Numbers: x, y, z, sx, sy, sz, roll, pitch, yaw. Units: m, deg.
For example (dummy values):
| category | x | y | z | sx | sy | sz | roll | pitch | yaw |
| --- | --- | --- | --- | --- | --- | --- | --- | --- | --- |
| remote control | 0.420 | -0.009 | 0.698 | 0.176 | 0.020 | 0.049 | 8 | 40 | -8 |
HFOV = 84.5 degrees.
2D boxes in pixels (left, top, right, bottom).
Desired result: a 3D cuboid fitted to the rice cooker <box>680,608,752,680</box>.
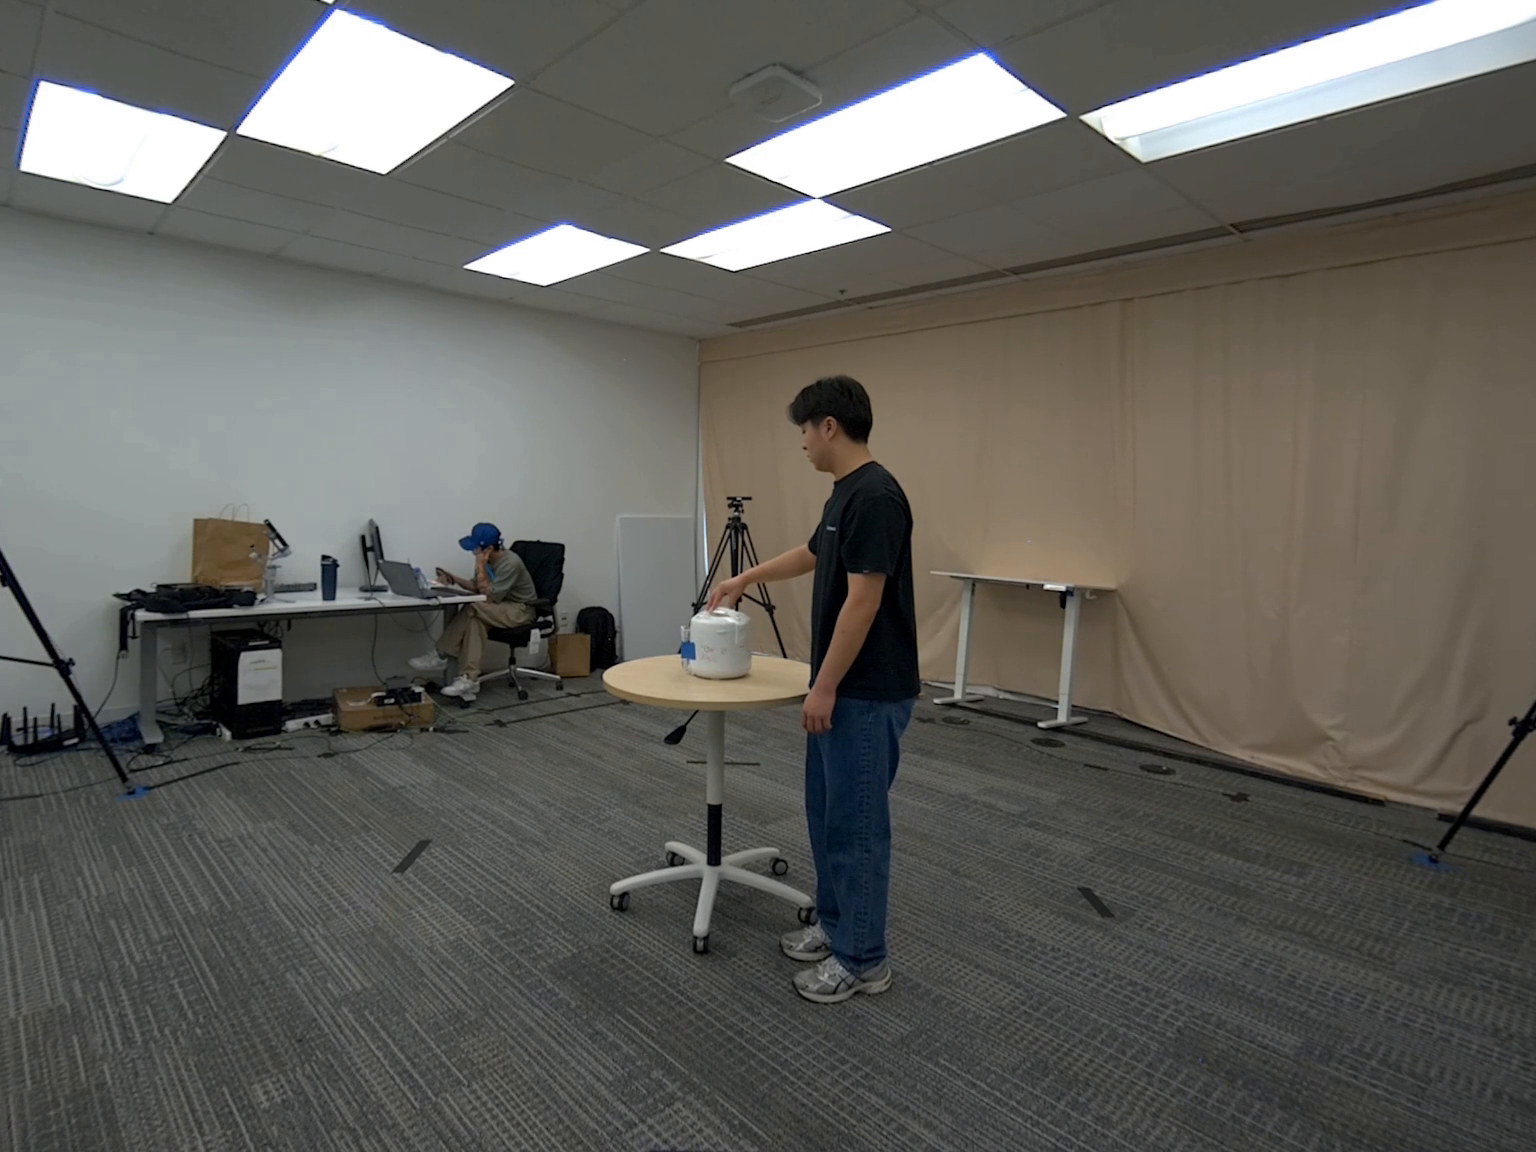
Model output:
| category | x | y | z | sx | sy | sz | roll | pitch | yaw |
| --- | --- | --- | --- | --- | --- | --- | --- | --- | --- |
| rice cooker | -0.164 | 0.220 | 2.836 | 0.213 | 0.232 | 0.226 | -4 | 7 | -41 |
